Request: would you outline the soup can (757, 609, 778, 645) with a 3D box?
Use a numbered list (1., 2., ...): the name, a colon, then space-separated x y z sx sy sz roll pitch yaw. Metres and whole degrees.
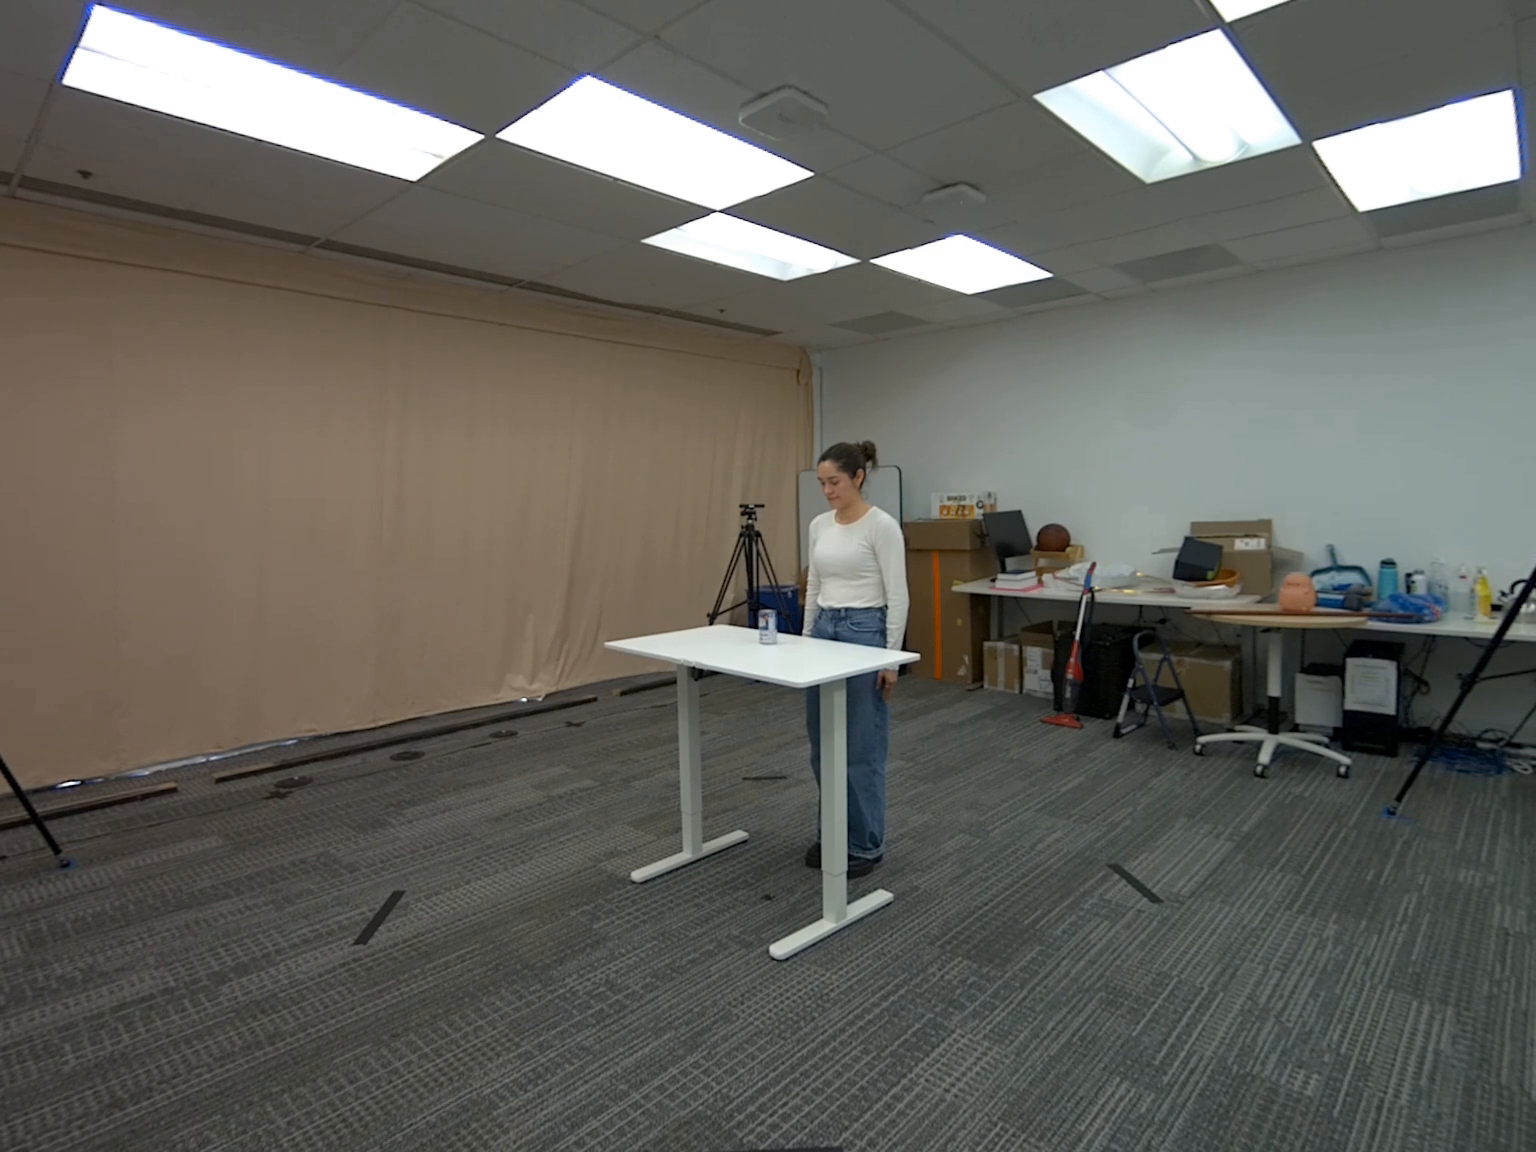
1. soup can: 0.009 0.185 3.098 0.067 0.121 0.067 1 3 -2
